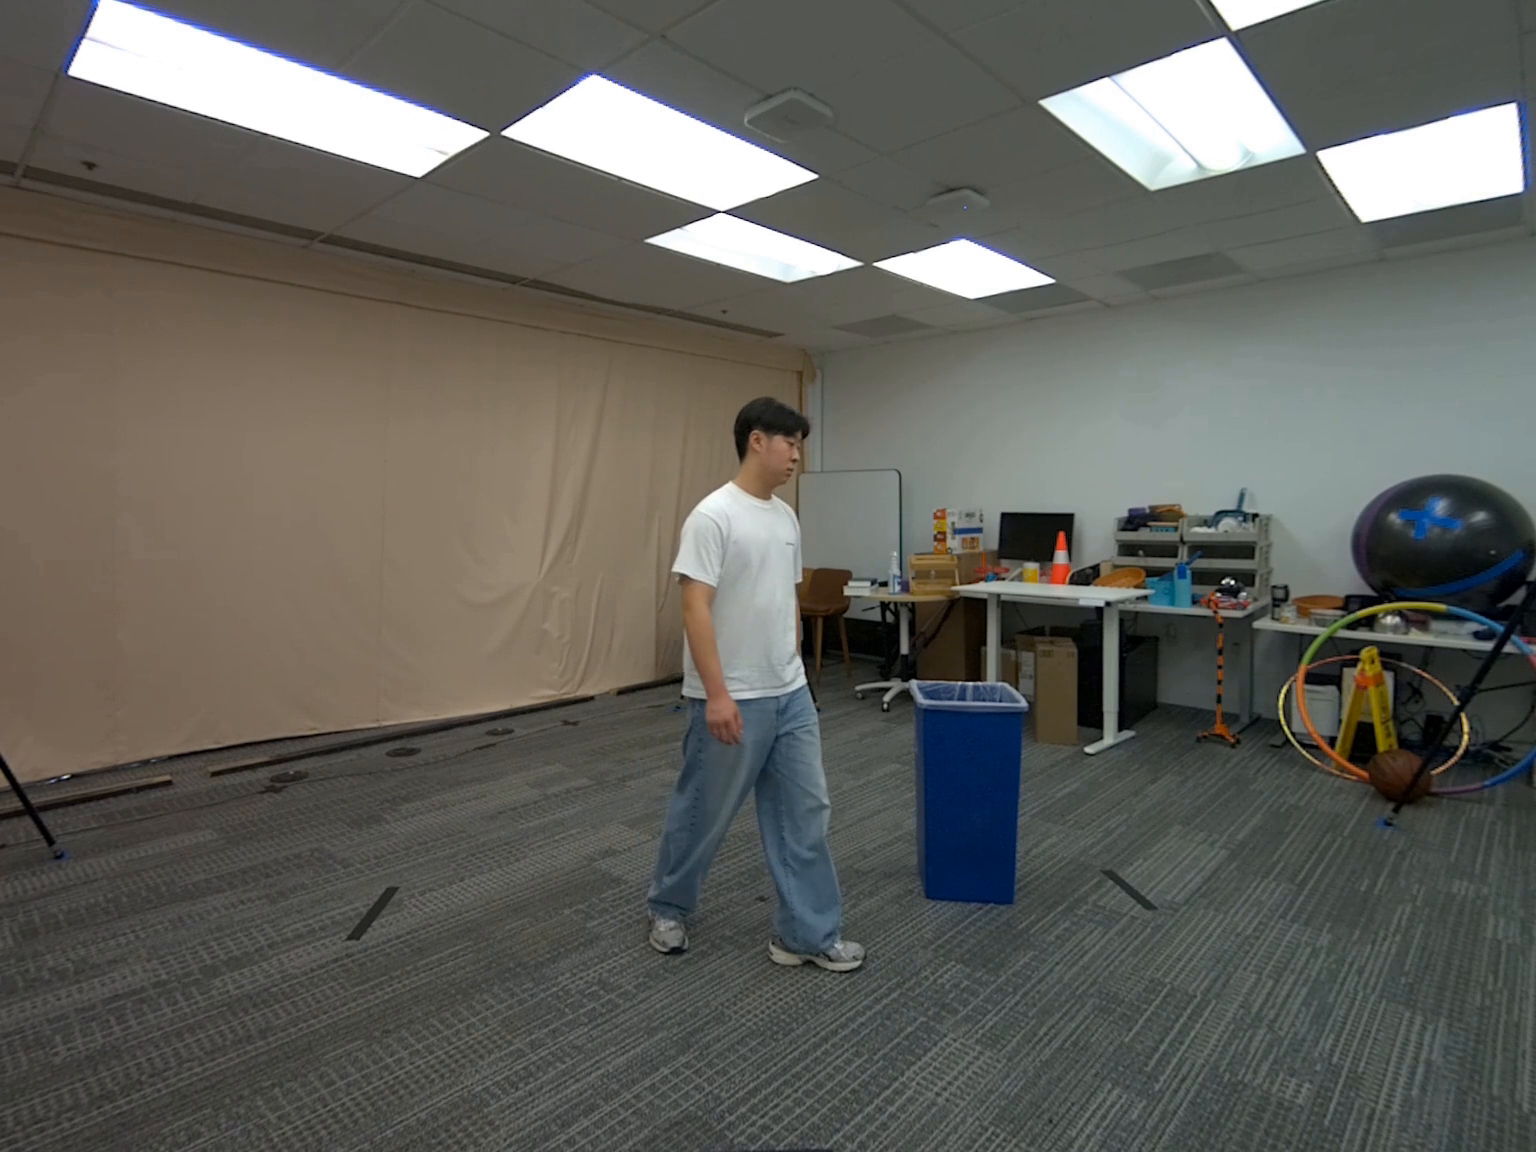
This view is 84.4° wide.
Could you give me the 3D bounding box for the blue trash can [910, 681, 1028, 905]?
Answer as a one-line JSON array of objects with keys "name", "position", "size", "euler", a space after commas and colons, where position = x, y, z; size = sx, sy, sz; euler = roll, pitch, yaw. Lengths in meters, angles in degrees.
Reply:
[{"name": "blue trash can", "position": [0.727, 0.776, 3.073], "size": [0.381, 0.712, 0.372], "euler": [0, 2, 6]}]
